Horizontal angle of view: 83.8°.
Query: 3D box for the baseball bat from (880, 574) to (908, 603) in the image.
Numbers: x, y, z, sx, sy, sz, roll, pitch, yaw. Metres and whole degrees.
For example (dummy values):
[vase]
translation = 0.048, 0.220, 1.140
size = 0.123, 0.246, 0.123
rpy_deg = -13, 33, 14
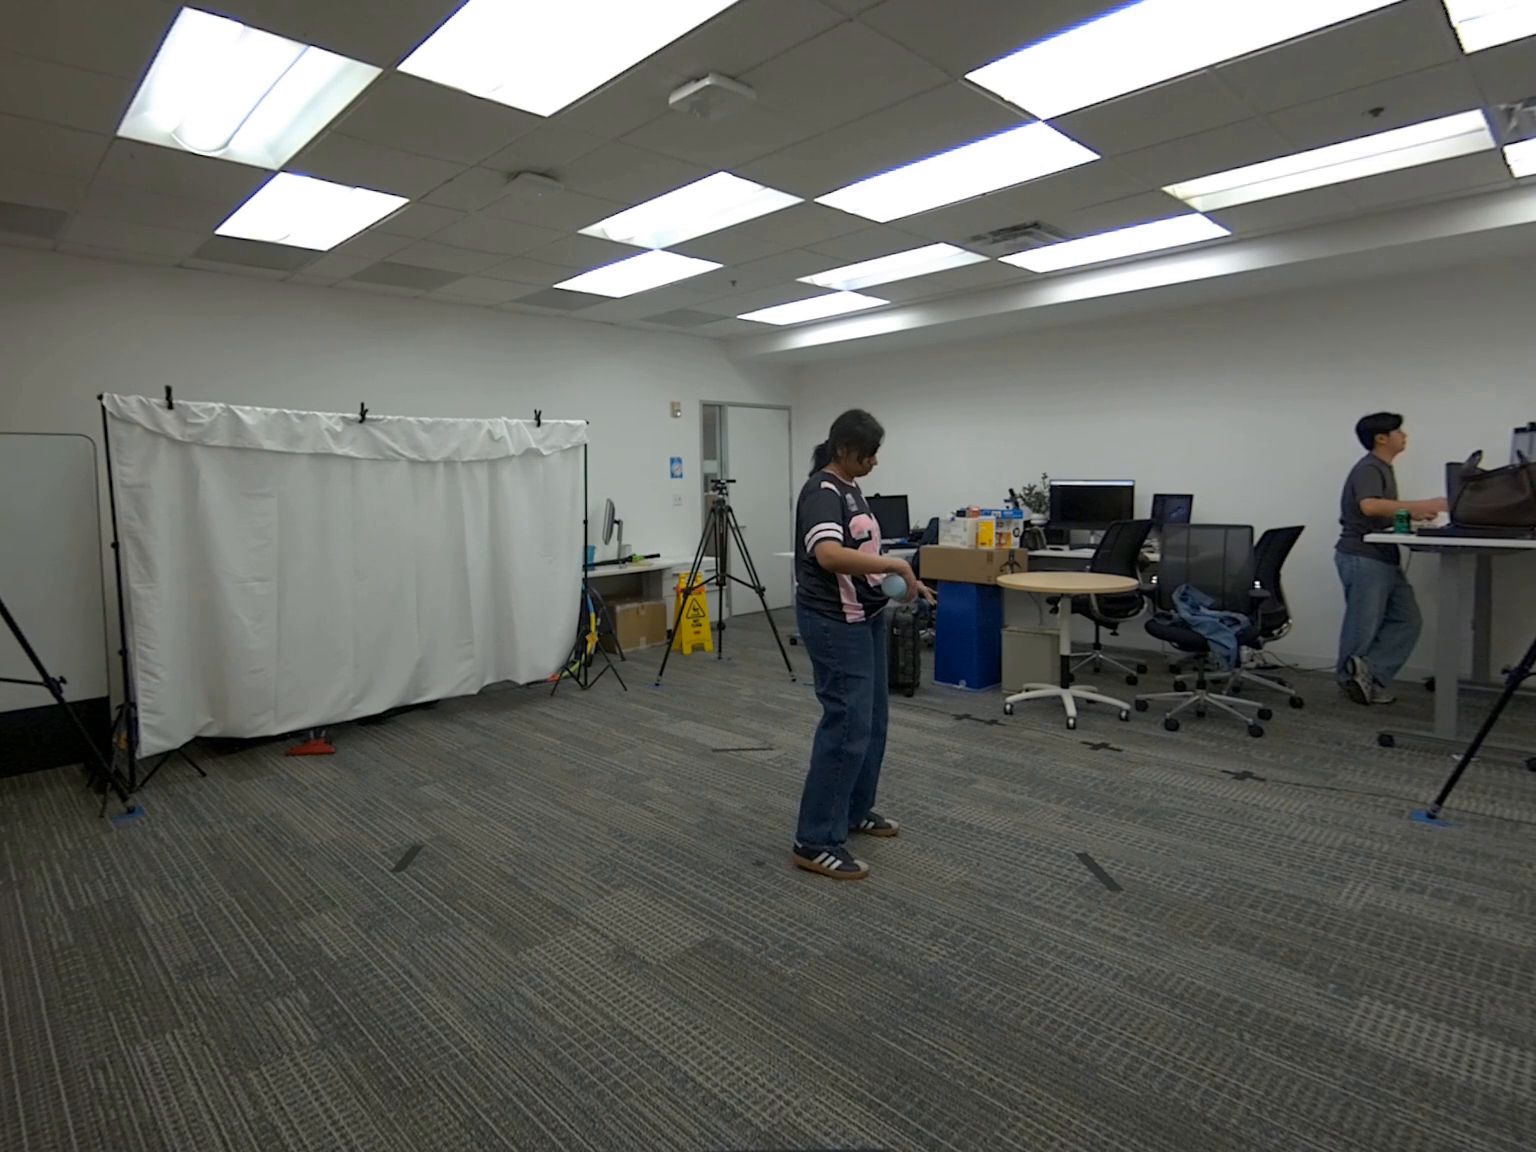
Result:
[baseball bat]
translation = 0.513, 0.078, 3.201
size = 0.091, 0.090, 0.528
rpy_deg = 1, -9, 20
